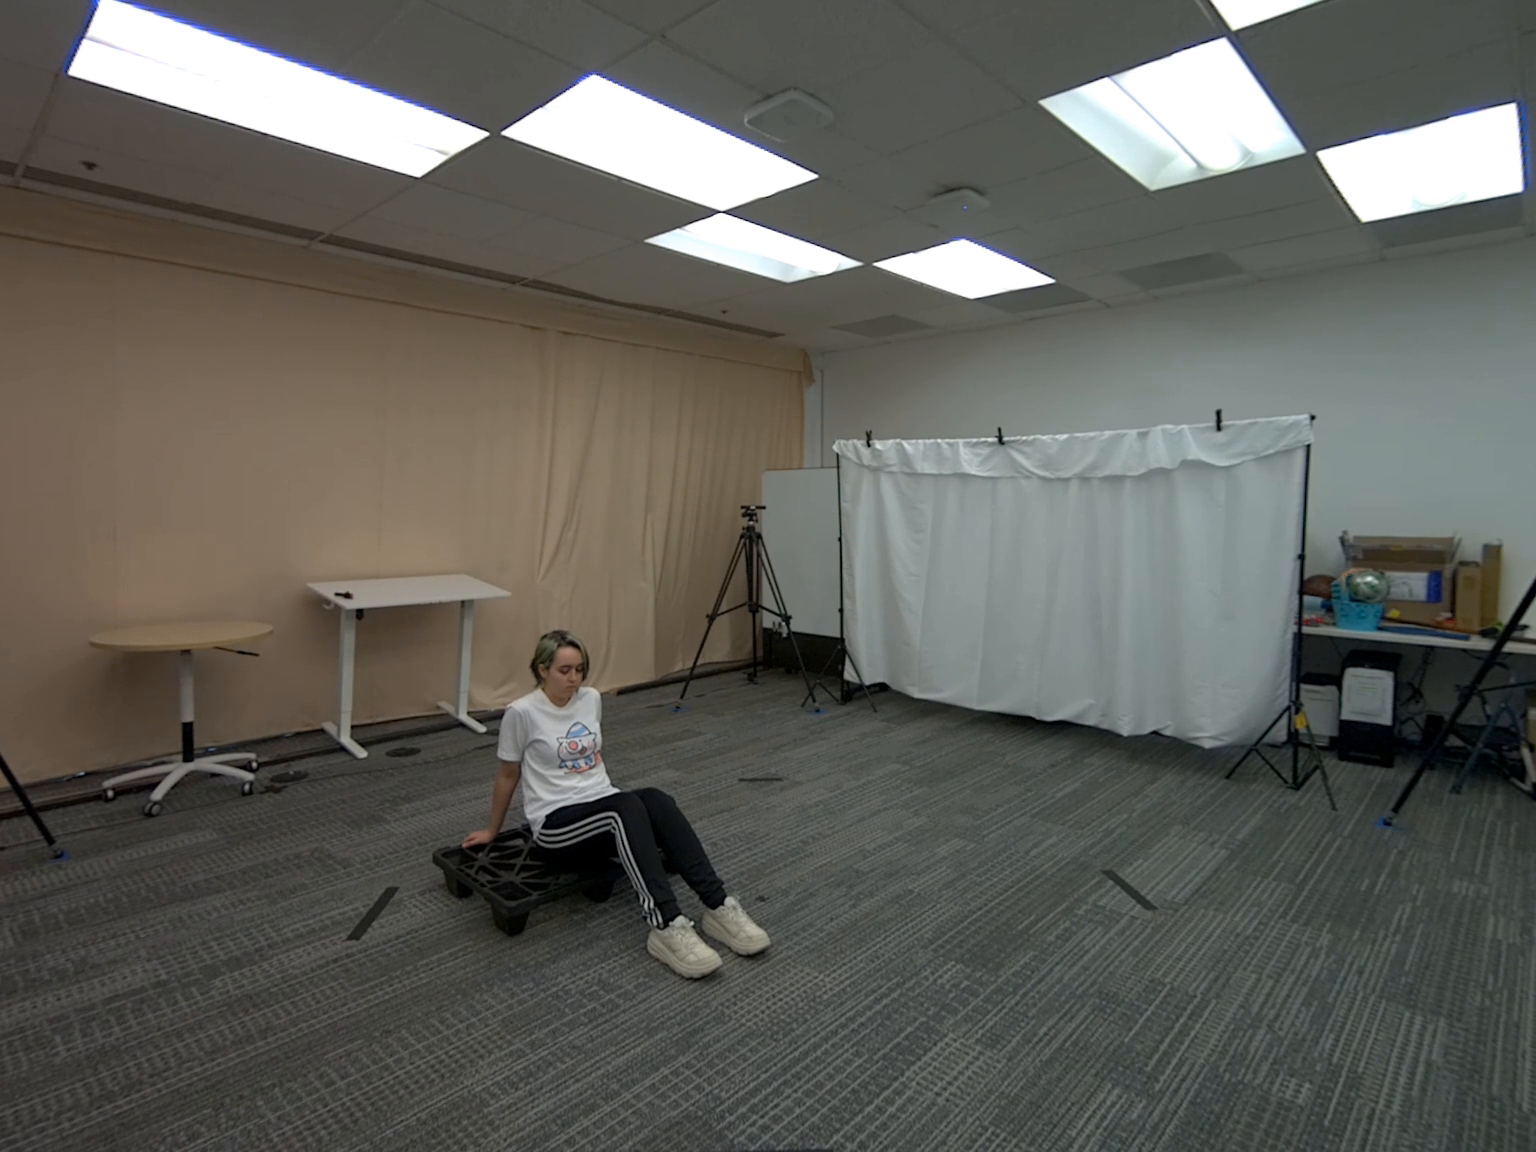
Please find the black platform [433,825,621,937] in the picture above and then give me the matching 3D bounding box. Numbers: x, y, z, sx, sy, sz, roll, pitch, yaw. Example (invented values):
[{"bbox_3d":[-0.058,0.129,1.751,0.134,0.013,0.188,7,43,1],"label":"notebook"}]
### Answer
[{"bbox_3d":[-0.745,1.070,3.145,0.781,0.143,0.625,-6,7,-43],"label":"black platform"}]
